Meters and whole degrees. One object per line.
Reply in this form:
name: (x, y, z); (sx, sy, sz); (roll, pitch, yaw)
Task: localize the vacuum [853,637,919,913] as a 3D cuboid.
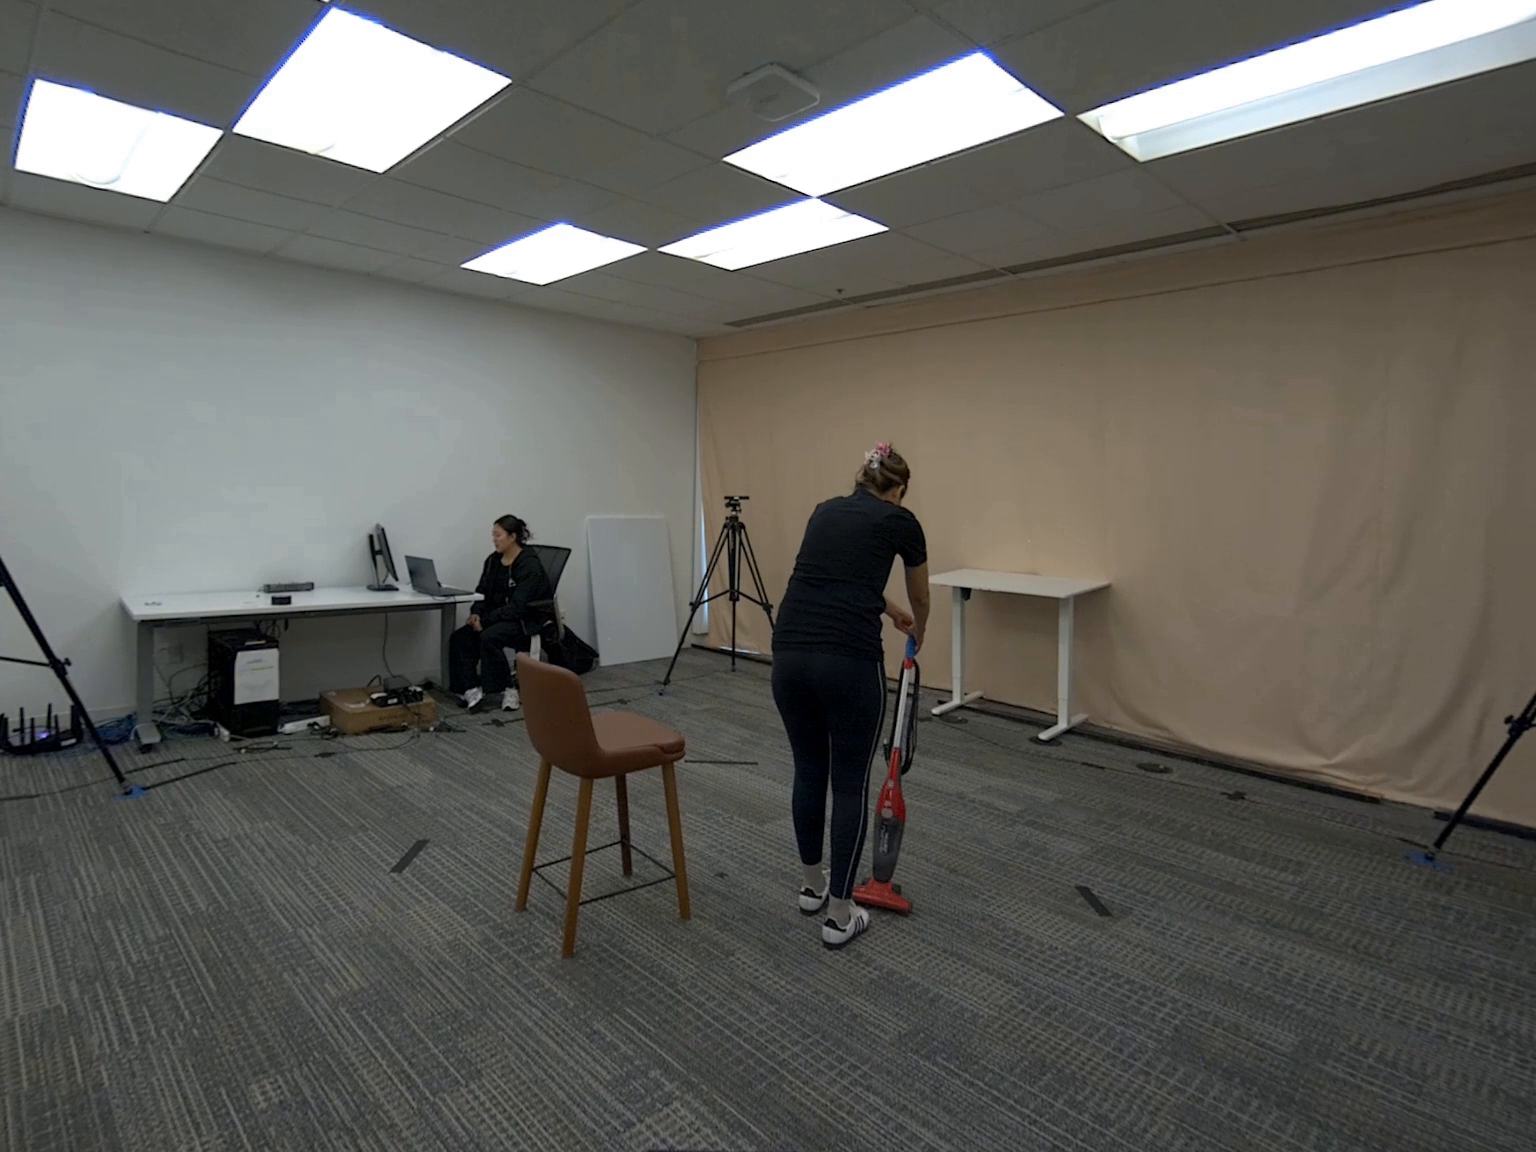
vacuum: (0.484, 0.645, 3.118); (0.258, 1.061, 0.139); (-4, -27, 36)
